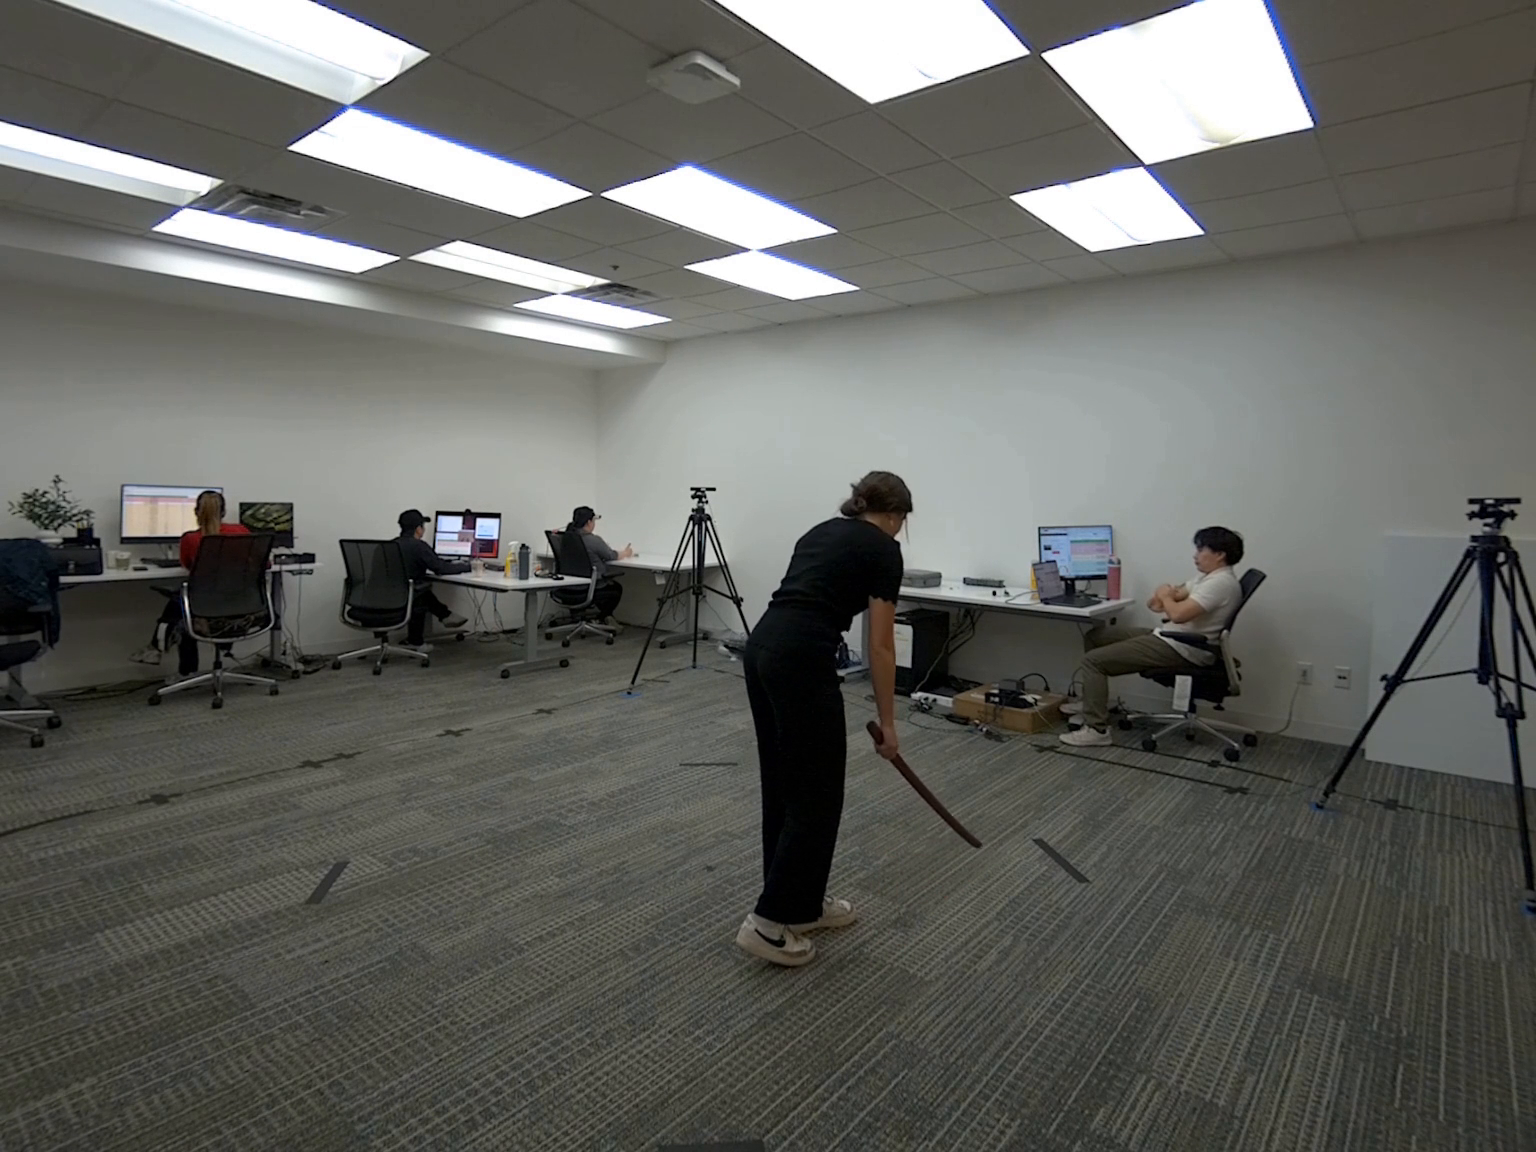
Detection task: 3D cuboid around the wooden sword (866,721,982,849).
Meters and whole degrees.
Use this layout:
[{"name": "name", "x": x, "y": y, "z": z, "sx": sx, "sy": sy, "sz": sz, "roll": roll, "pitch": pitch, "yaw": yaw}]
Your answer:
[{"name": "wooden sword", "x": 0.515, "y": 0.742, "z": 2.865, "sx": 0.053, "sy": 0.024, "sz": 0.982, "roll": 15, "pitch": -22, "yaw": 44}]
